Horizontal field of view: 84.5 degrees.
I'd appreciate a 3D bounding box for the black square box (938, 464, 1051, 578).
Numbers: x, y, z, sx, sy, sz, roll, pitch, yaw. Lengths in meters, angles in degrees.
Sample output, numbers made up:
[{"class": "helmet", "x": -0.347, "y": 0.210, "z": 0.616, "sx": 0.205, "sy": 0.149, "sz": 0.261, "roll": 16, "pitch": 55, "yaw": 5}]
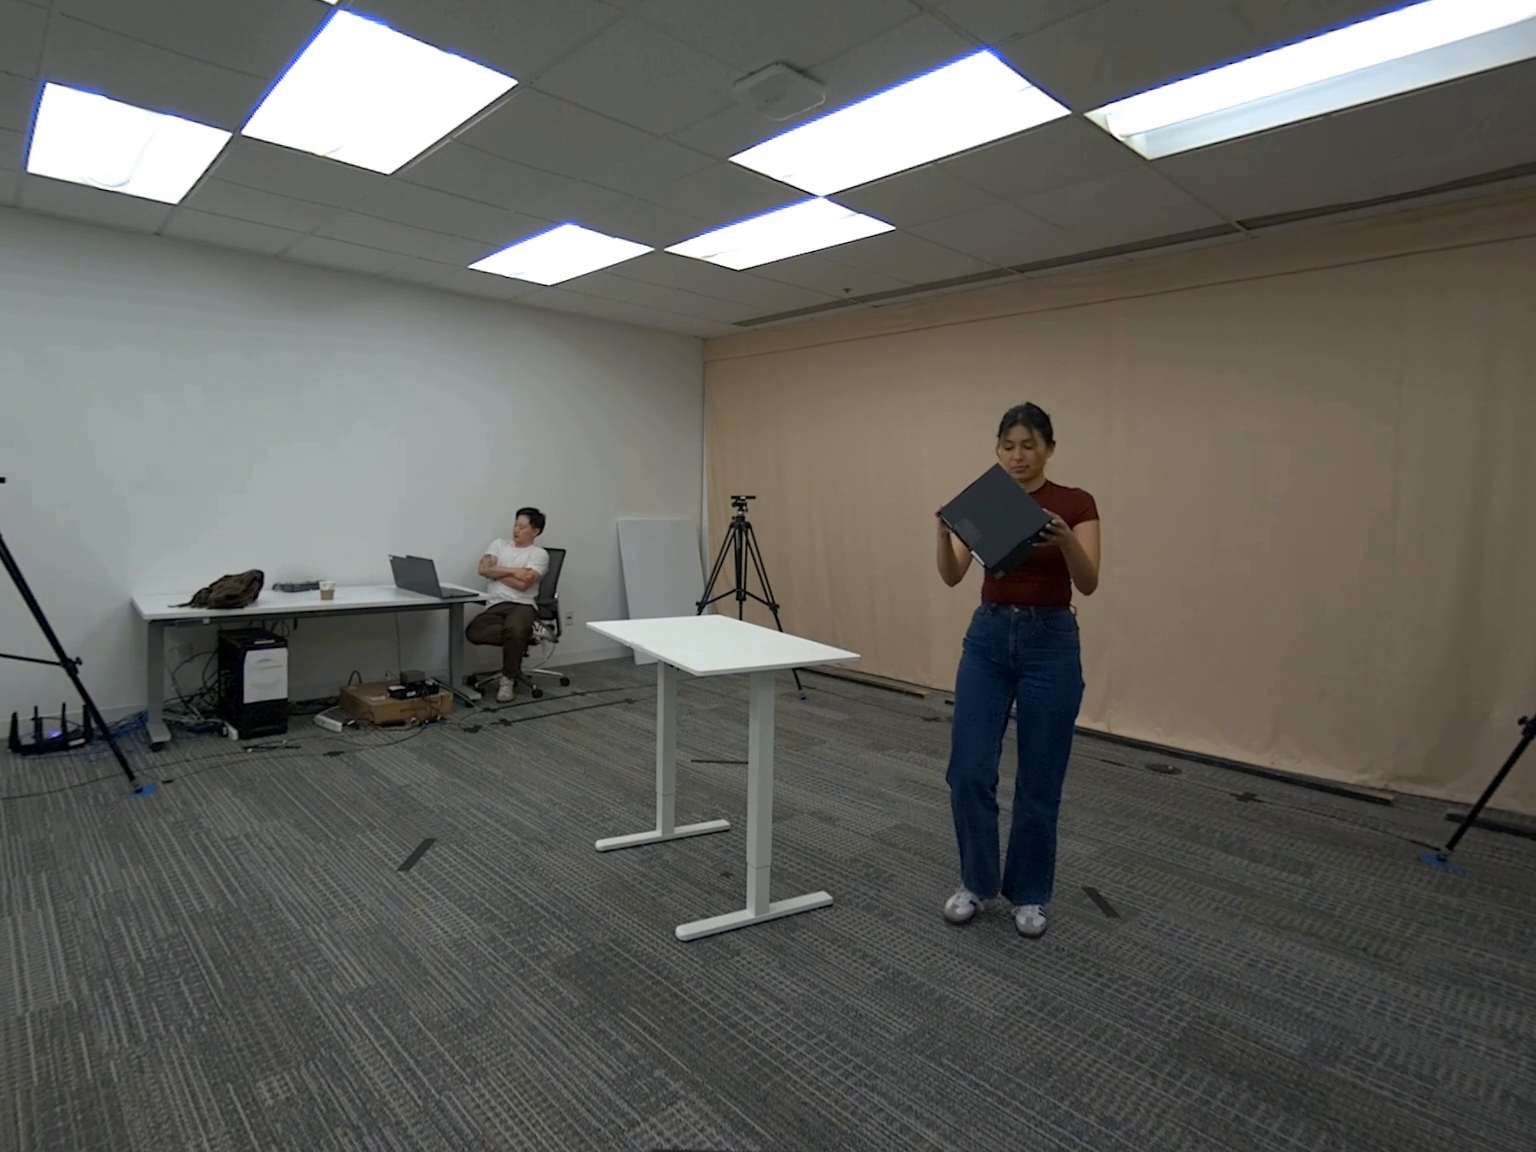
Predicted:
[{"class": "black square box", "x": 0.643, "y": -0.147, "z": 2.384, "sx": 0.217, "sy": 0.234, "sz": 0.152, "roll": -41, "pitch": -26, "yaw": 13}]
